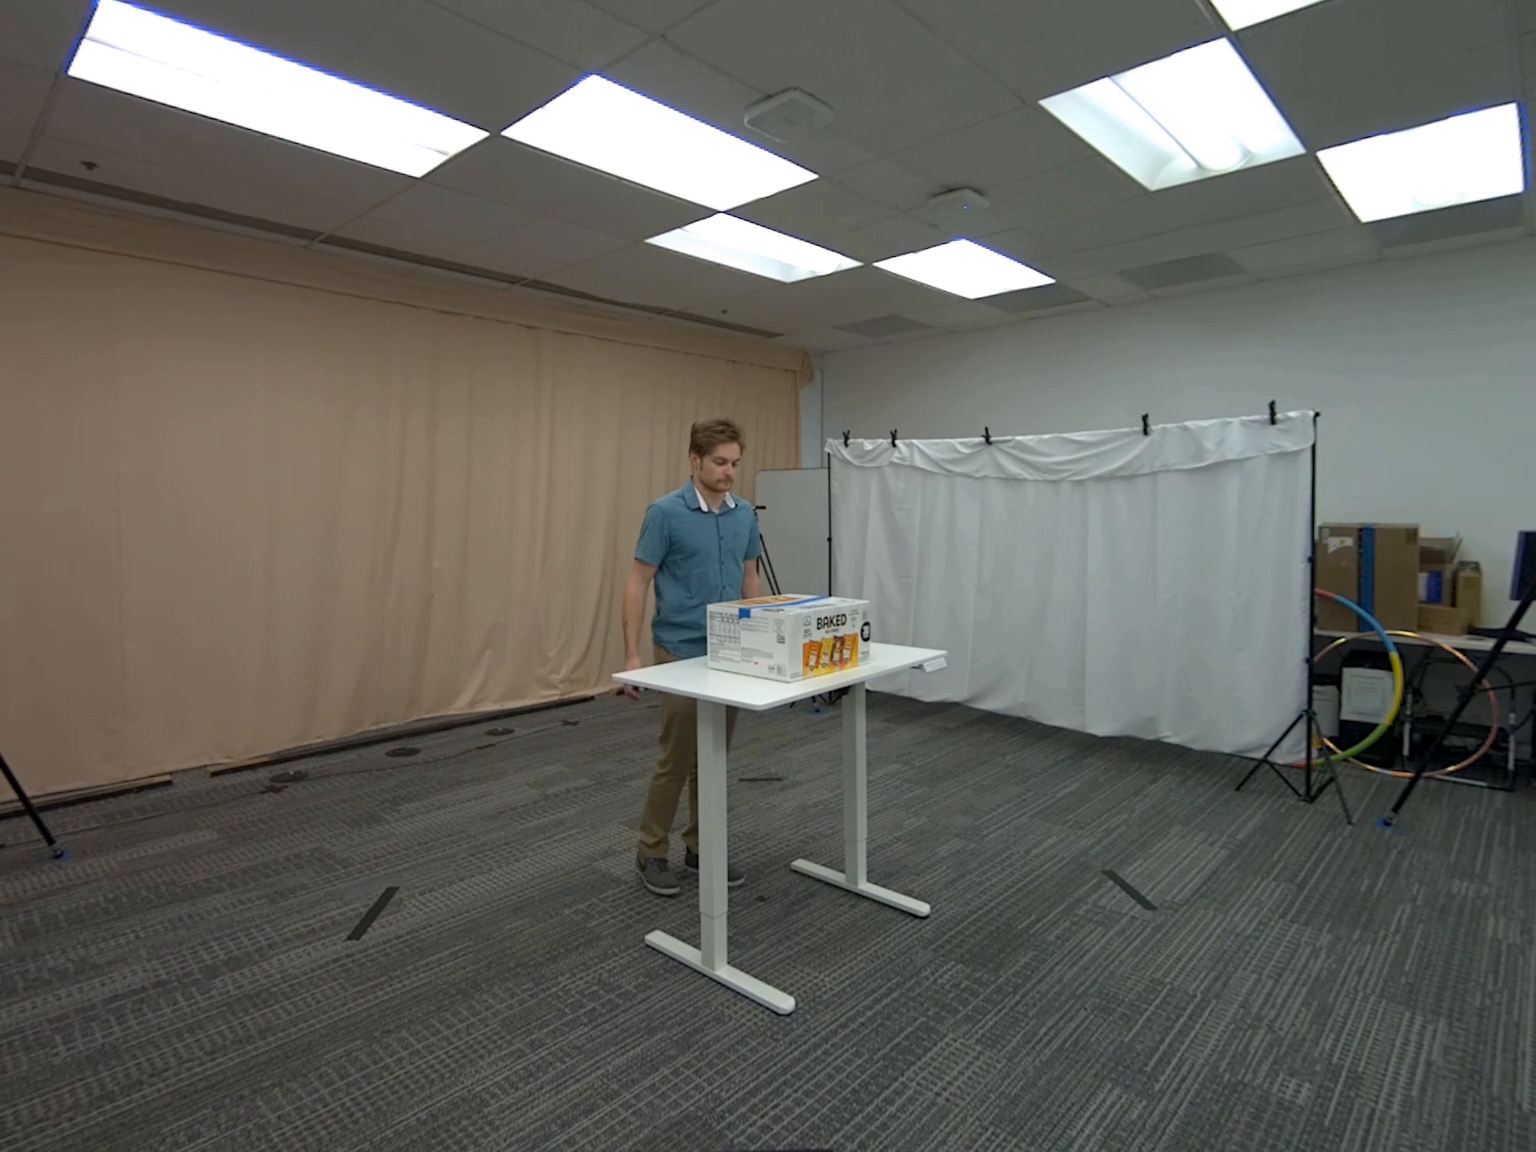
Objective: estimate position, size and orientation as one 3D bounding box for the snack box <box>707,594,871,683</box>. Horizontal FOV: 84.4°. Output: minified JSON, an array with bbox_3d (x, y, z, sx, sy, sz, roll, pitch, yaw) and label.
[{"bbox_3d":[0.072,0.184,2.666,0.351,0.205,0.393,3,5,43],"label":"snack box"}]
